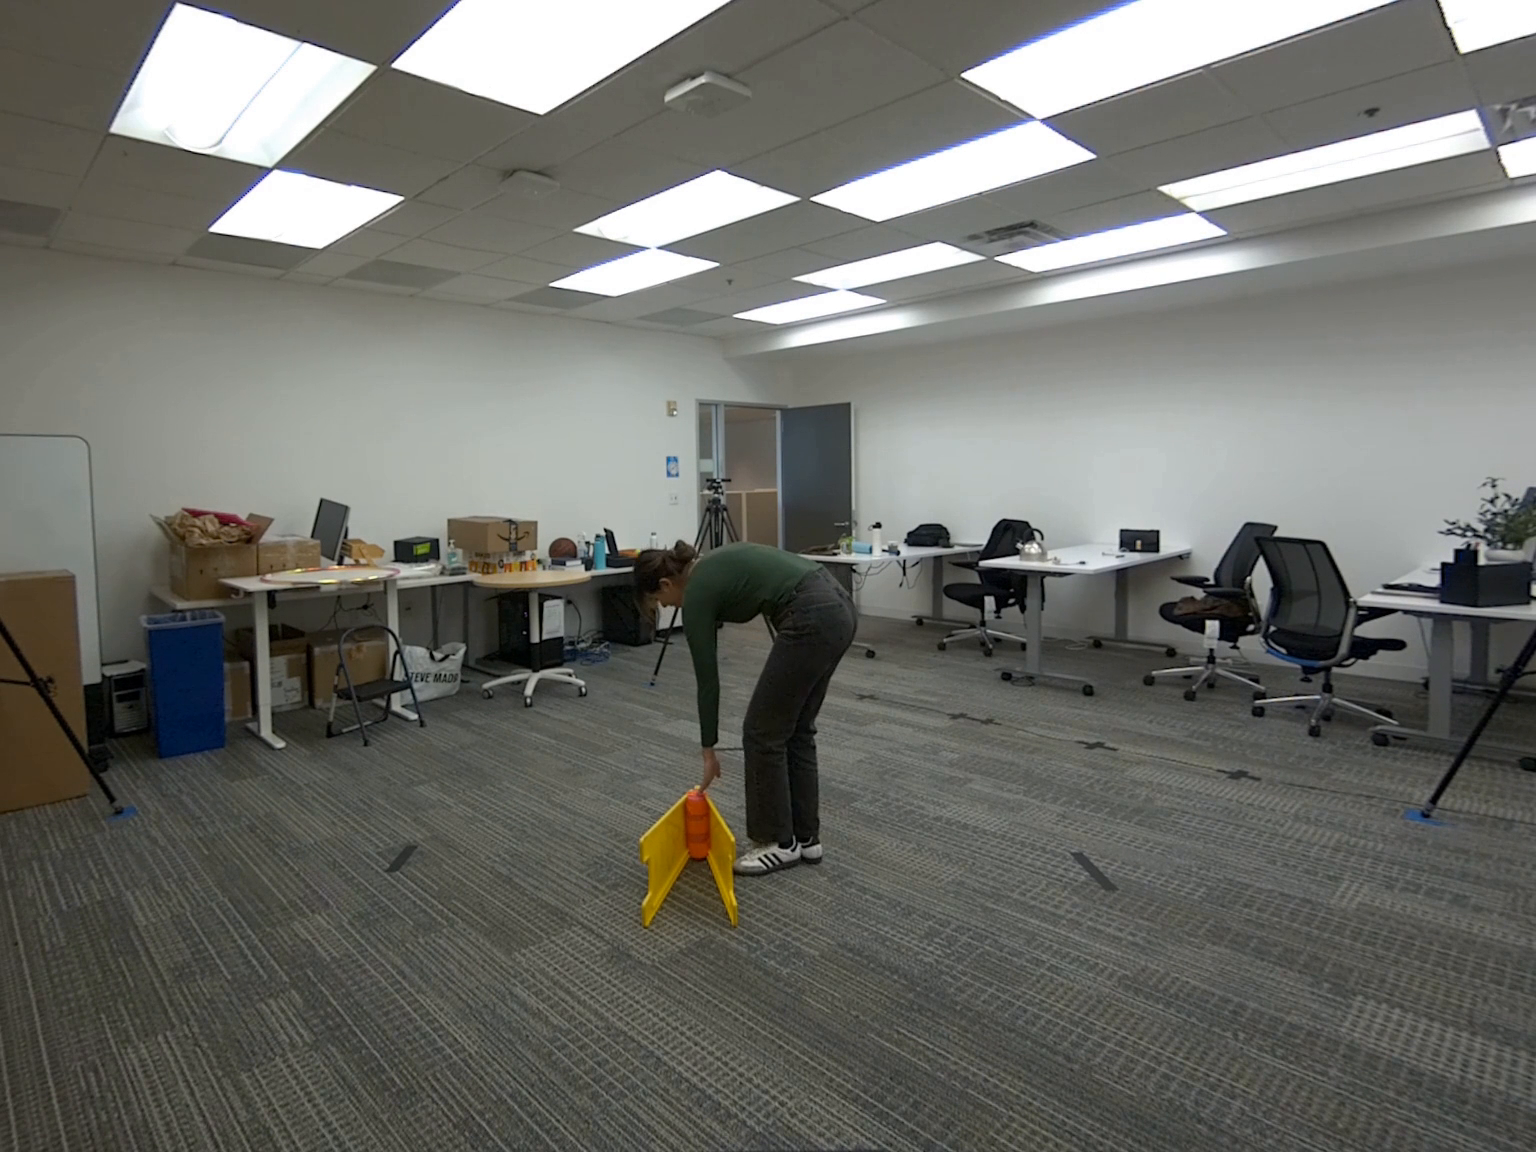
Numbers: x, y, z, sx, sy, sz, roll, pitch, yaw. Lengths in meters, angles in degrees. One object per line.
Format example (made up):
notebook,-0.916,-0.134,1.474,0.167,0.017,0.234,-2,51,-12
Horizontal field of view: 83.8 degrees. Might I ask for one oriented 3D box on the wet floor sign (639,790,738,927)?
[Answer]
wet floor sign,-0.259,0.929,2.987,0.289,0.281,0.648,-2,4,-2
